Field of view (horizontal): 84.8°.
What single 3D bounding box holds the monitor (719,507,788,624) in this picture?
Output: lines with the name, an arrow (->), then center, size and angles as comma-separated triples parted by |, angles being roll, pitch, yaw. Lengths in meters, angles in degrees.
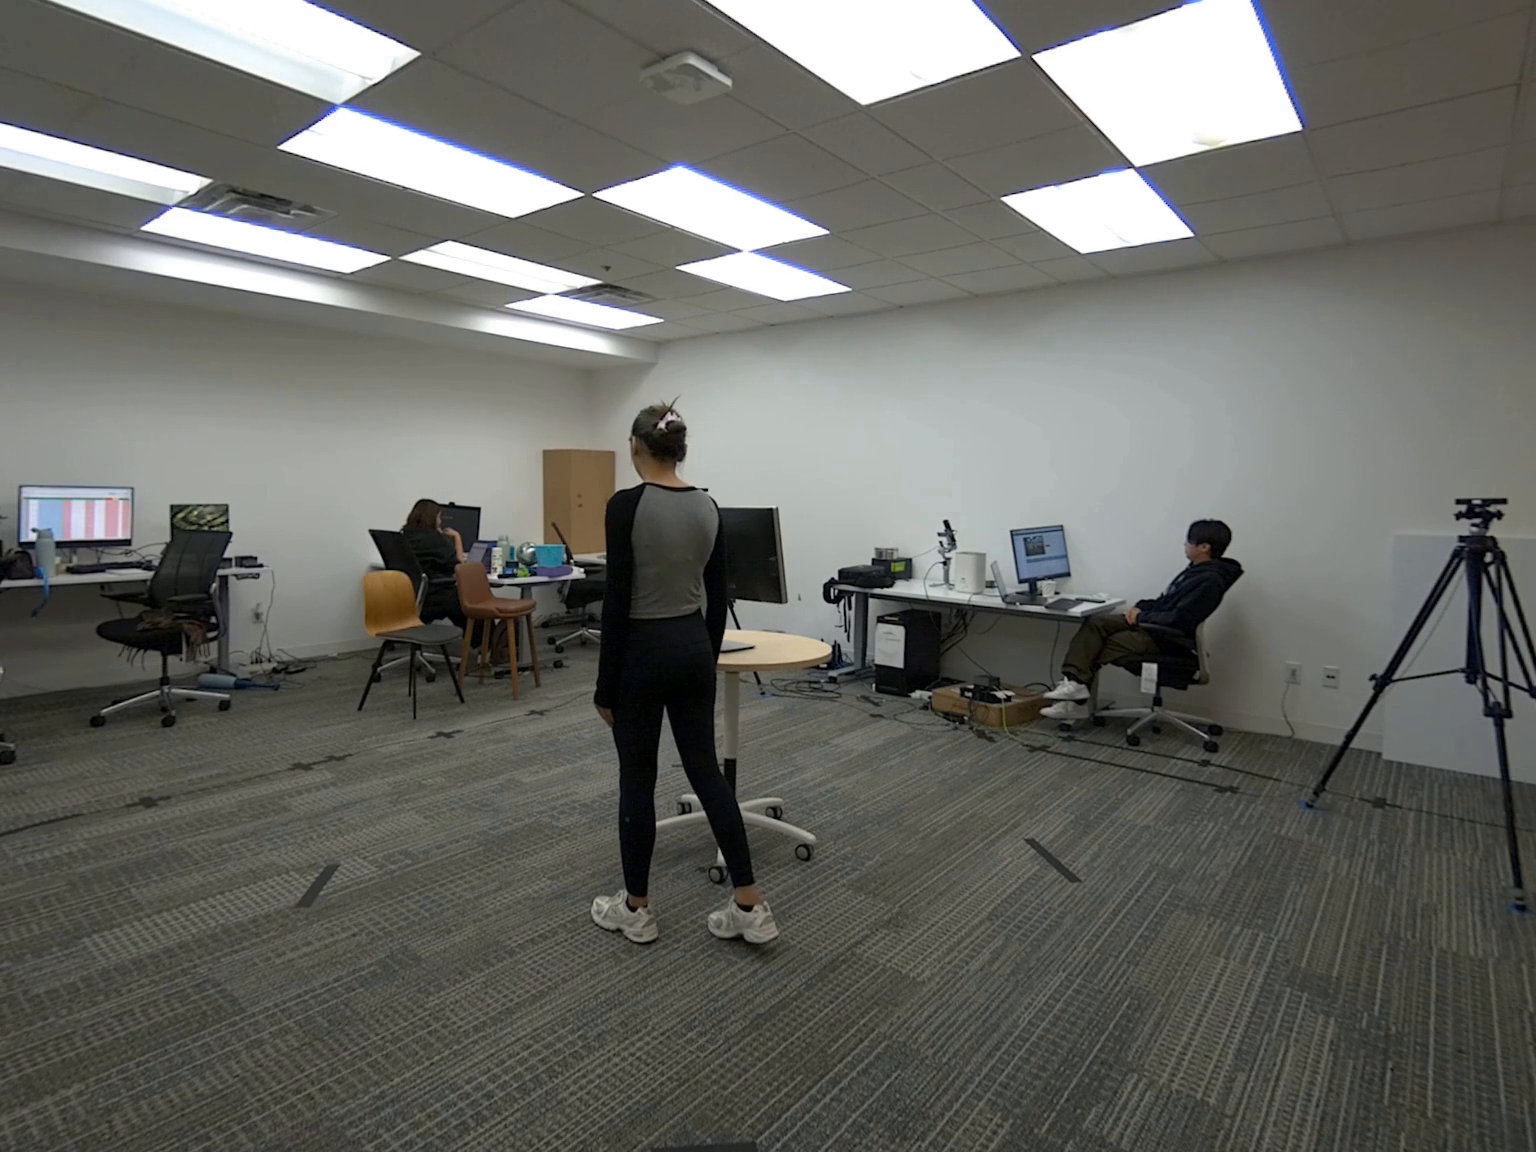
monitor -> -0.201, 0.004, 3.250 | 0.557, 0.522, 0.181 | 4, 2, 39
